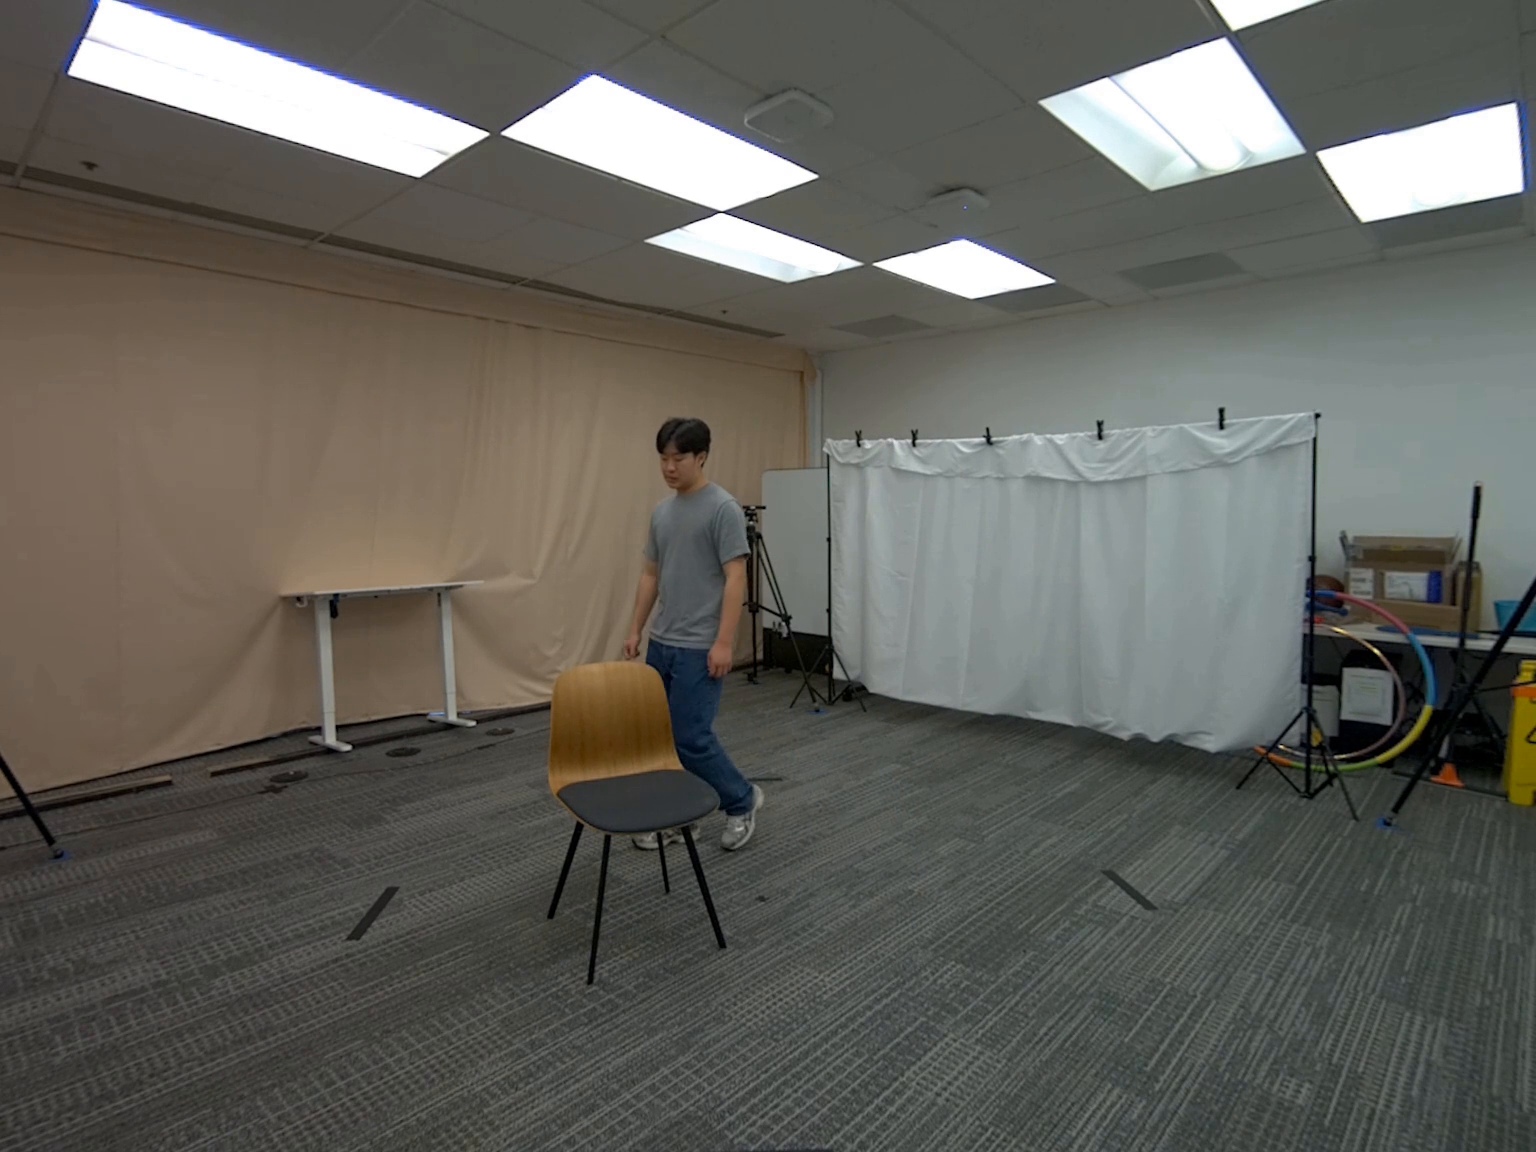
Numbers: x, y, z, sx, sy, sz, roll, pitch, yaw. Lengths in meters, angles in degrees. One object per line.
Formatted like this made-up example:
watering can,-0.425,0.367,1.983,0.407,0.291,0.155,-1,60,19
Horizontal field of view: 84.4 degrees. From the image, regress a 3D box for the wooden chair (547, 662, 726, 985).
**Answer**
wooden chair,-0.434,0.739,2.716,0.466,0.878,0.536,-2,-1,-28
